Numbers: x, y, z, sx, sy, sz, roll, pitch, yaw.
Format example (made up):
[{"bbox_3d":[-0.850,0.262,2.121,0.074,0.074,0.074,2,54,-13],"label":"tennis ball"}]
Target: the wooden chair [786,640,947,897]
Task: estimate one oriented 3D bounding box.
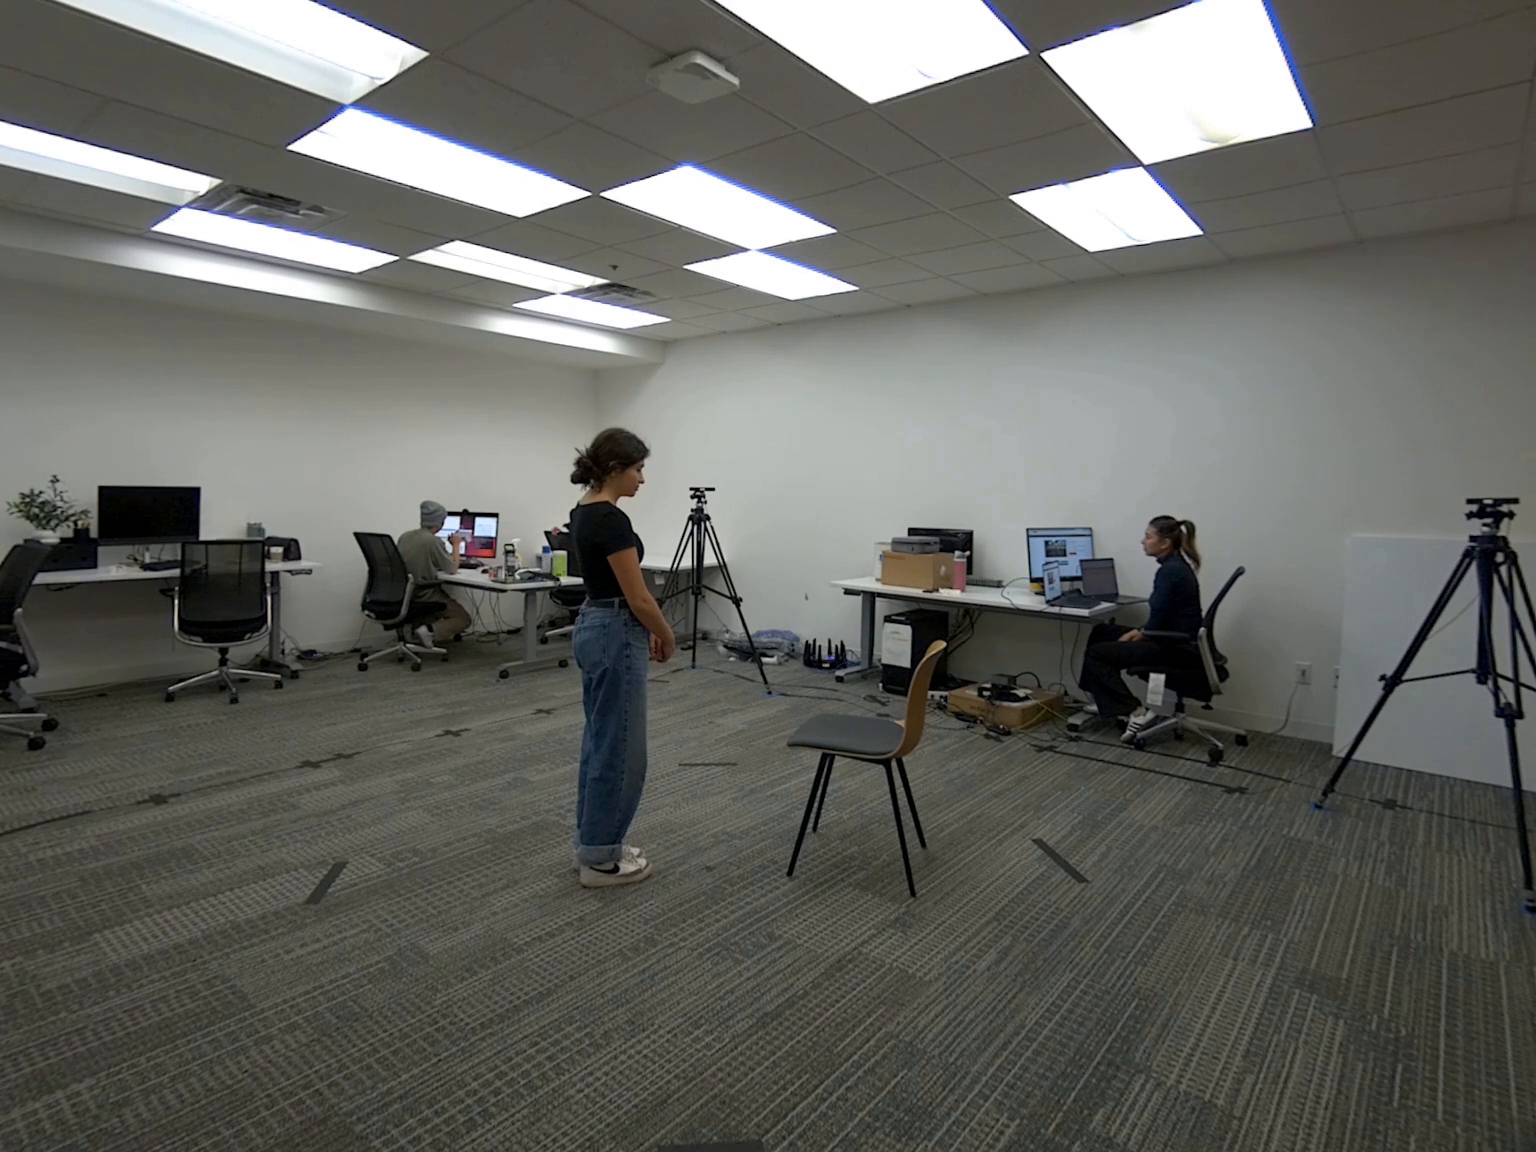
[{"bbox_3d":[0.342,0.649,3.173,0.534,0.874,0.470,7,5,17],"label":"wooden chair"}]
